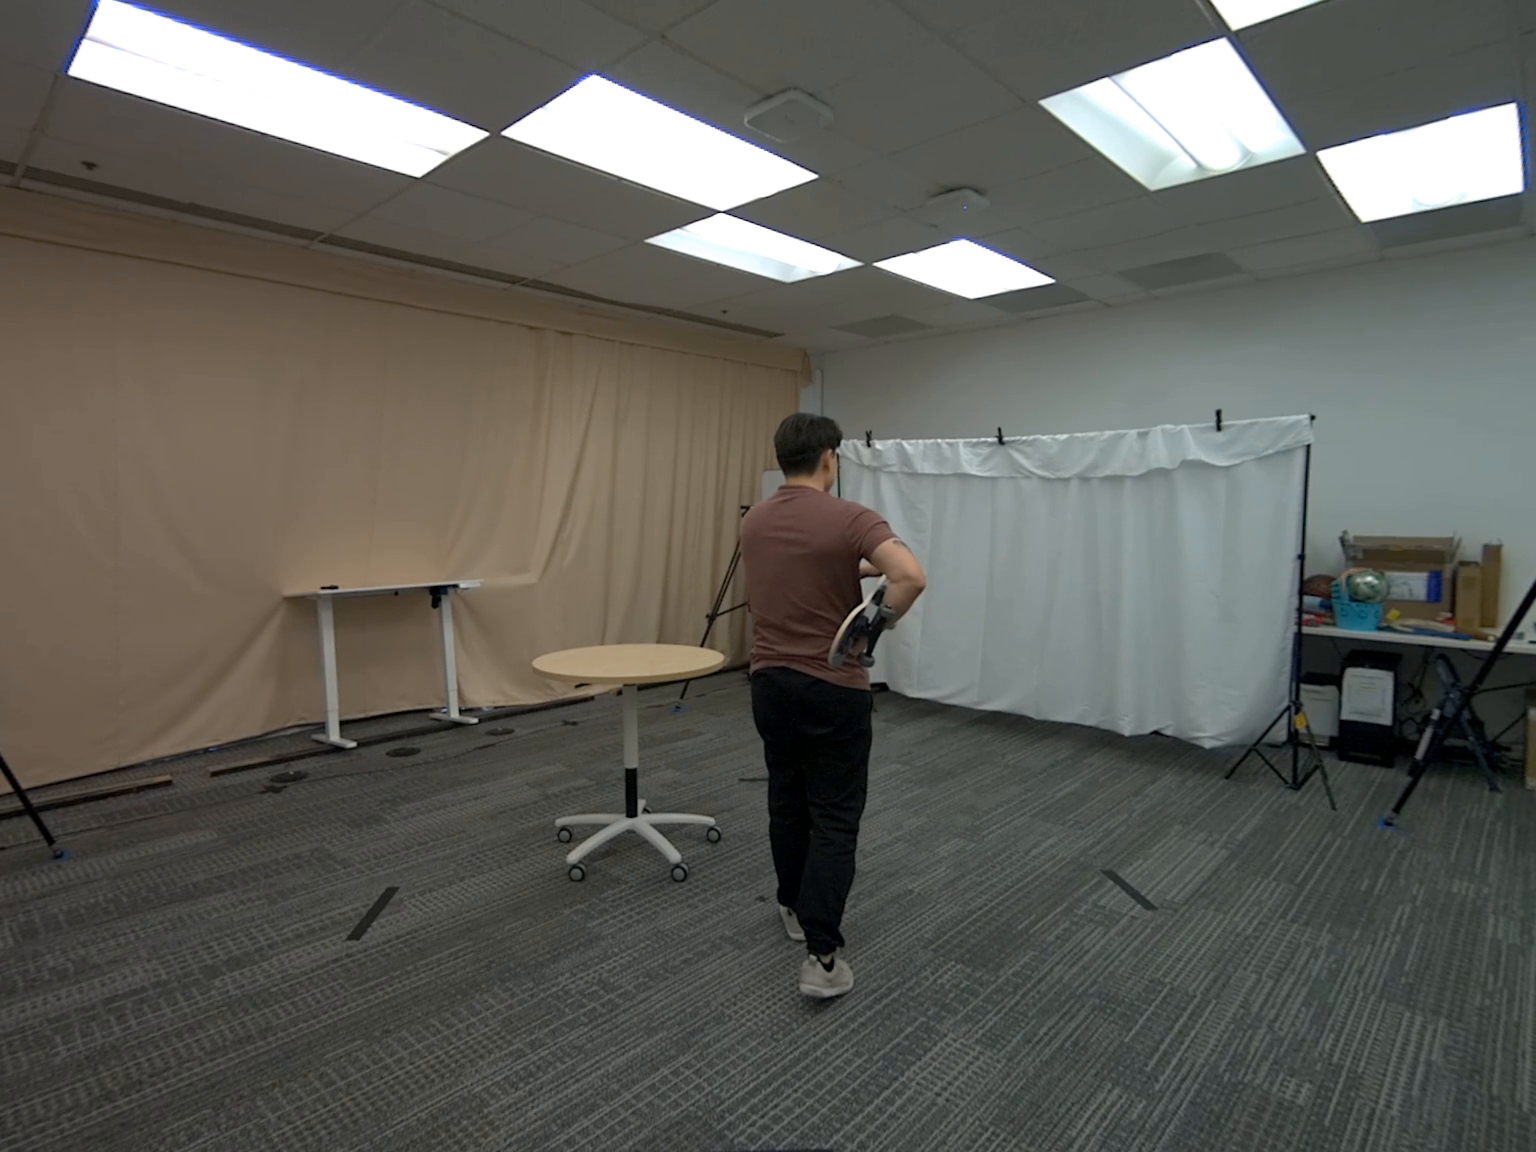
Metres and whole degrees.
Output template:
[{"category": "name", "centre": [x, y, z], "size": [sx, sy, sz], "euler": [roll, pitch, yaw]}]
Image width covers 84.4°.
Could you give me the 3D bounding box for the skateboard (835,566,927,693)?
[{"category": "skateboard", "centre": [0.344, 0.115, 2.506], "size": [0.112, 0.193, 0.776], "euler": [23, 17, 10]}]
